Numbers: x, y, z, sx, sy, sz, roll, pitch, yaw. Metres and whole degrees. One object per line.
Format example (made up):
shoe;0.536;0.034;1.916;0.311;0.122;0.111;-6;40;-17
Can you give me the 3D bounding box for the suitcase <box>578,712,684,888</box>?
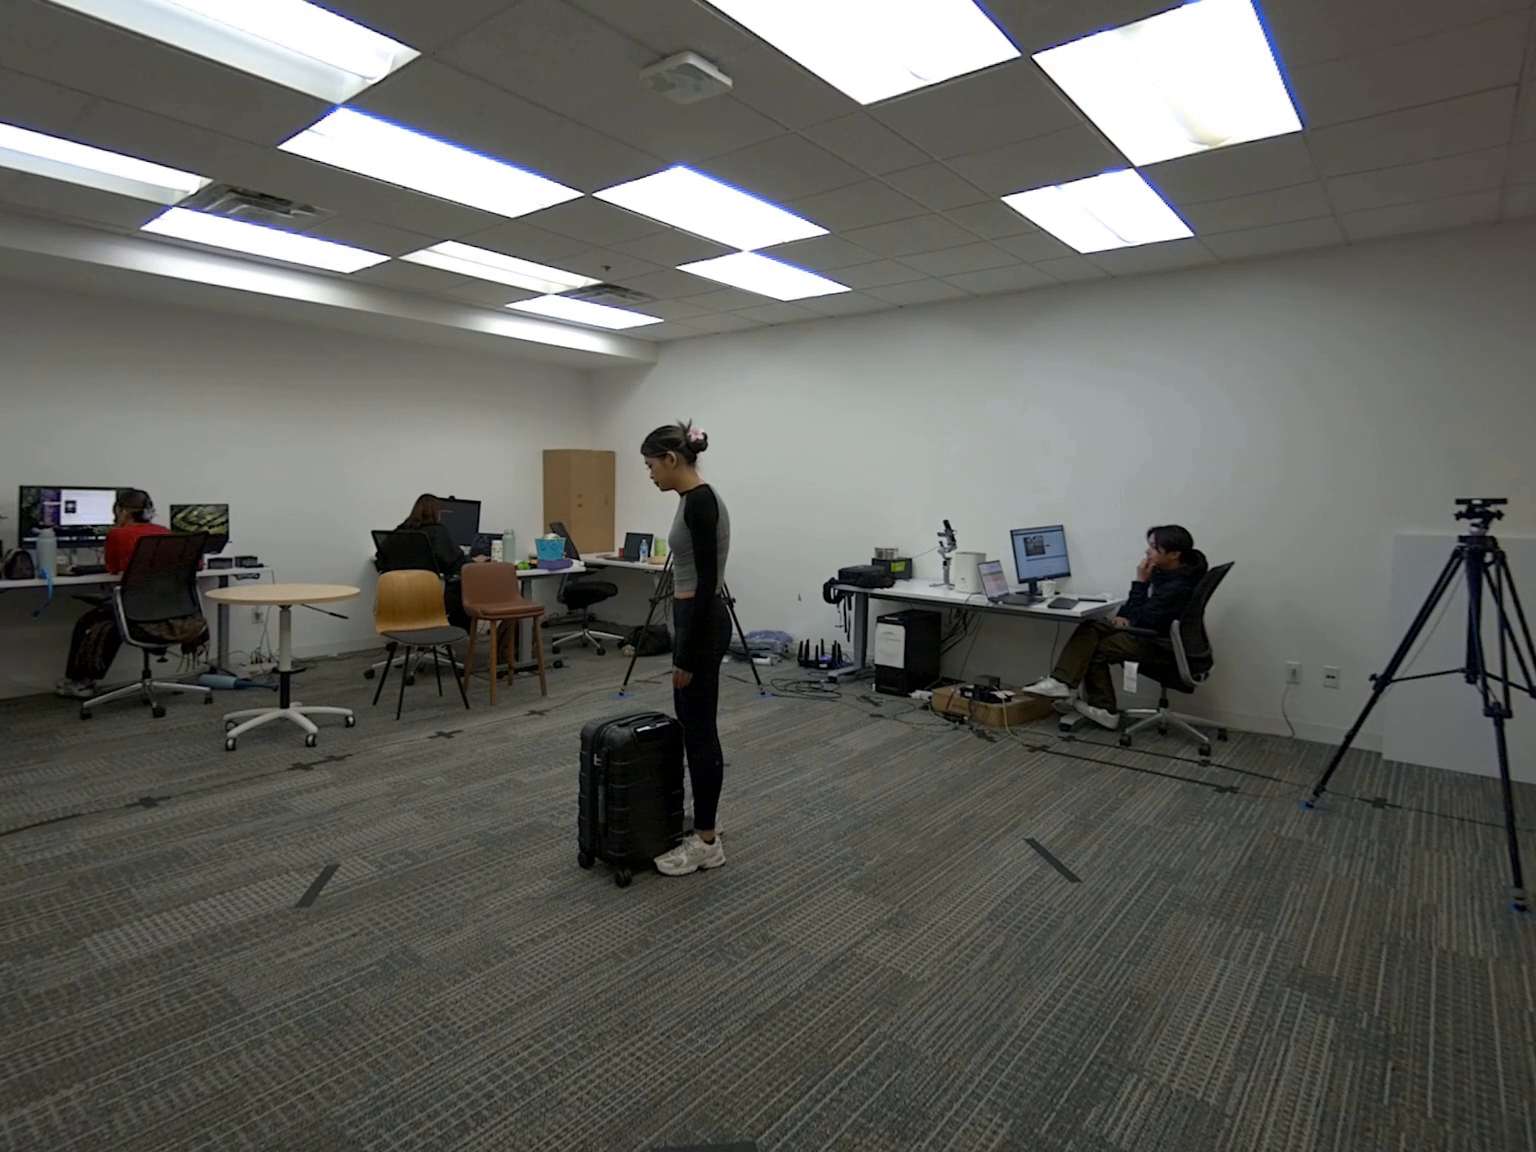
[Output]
suitcase;-0.522;0.787;3.148;0.256;0.548;0.364;1;3;40
